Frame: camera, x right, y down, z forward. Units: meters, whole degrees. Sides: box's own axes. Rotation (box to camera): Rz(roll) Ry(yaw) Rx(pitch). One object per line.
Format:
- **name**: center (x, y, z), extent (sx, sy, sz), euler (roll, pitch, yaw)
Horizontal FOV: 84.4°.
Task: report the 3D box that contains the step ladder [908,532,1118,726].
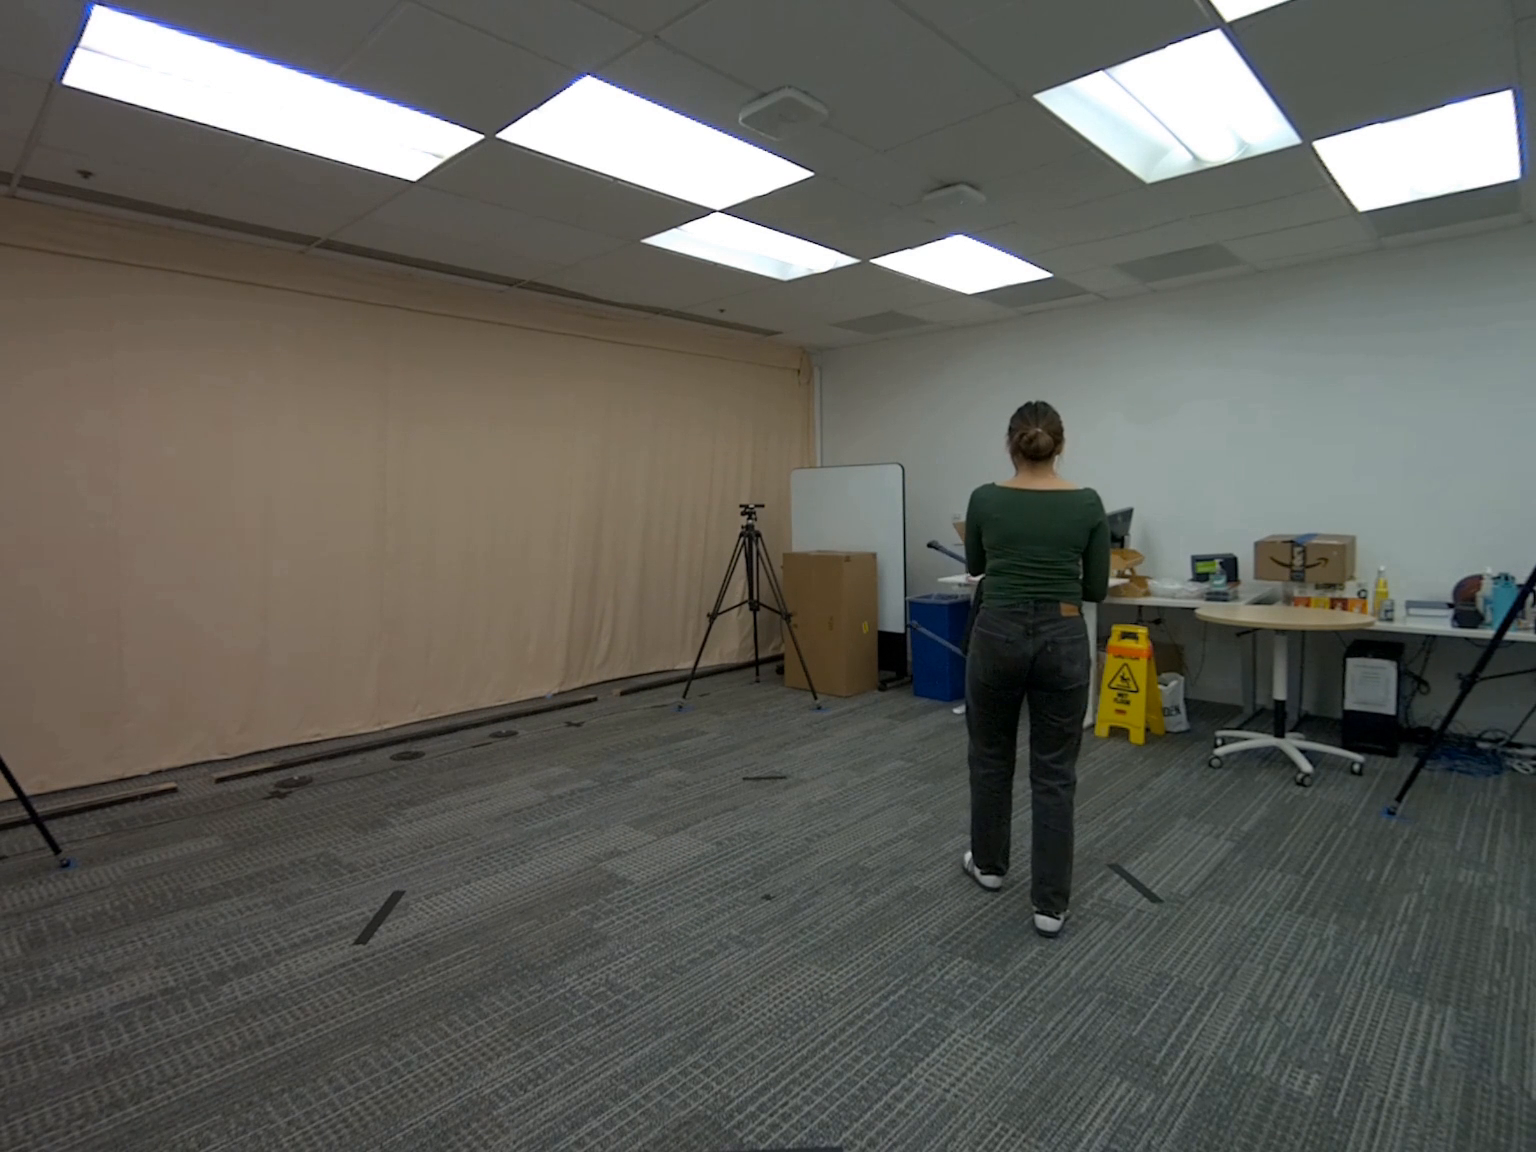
- **step ladder**: center (0.888, 0.171, 3.200), extent (0.342, 0.424, 0.627), euler (-12, 38, -24)
